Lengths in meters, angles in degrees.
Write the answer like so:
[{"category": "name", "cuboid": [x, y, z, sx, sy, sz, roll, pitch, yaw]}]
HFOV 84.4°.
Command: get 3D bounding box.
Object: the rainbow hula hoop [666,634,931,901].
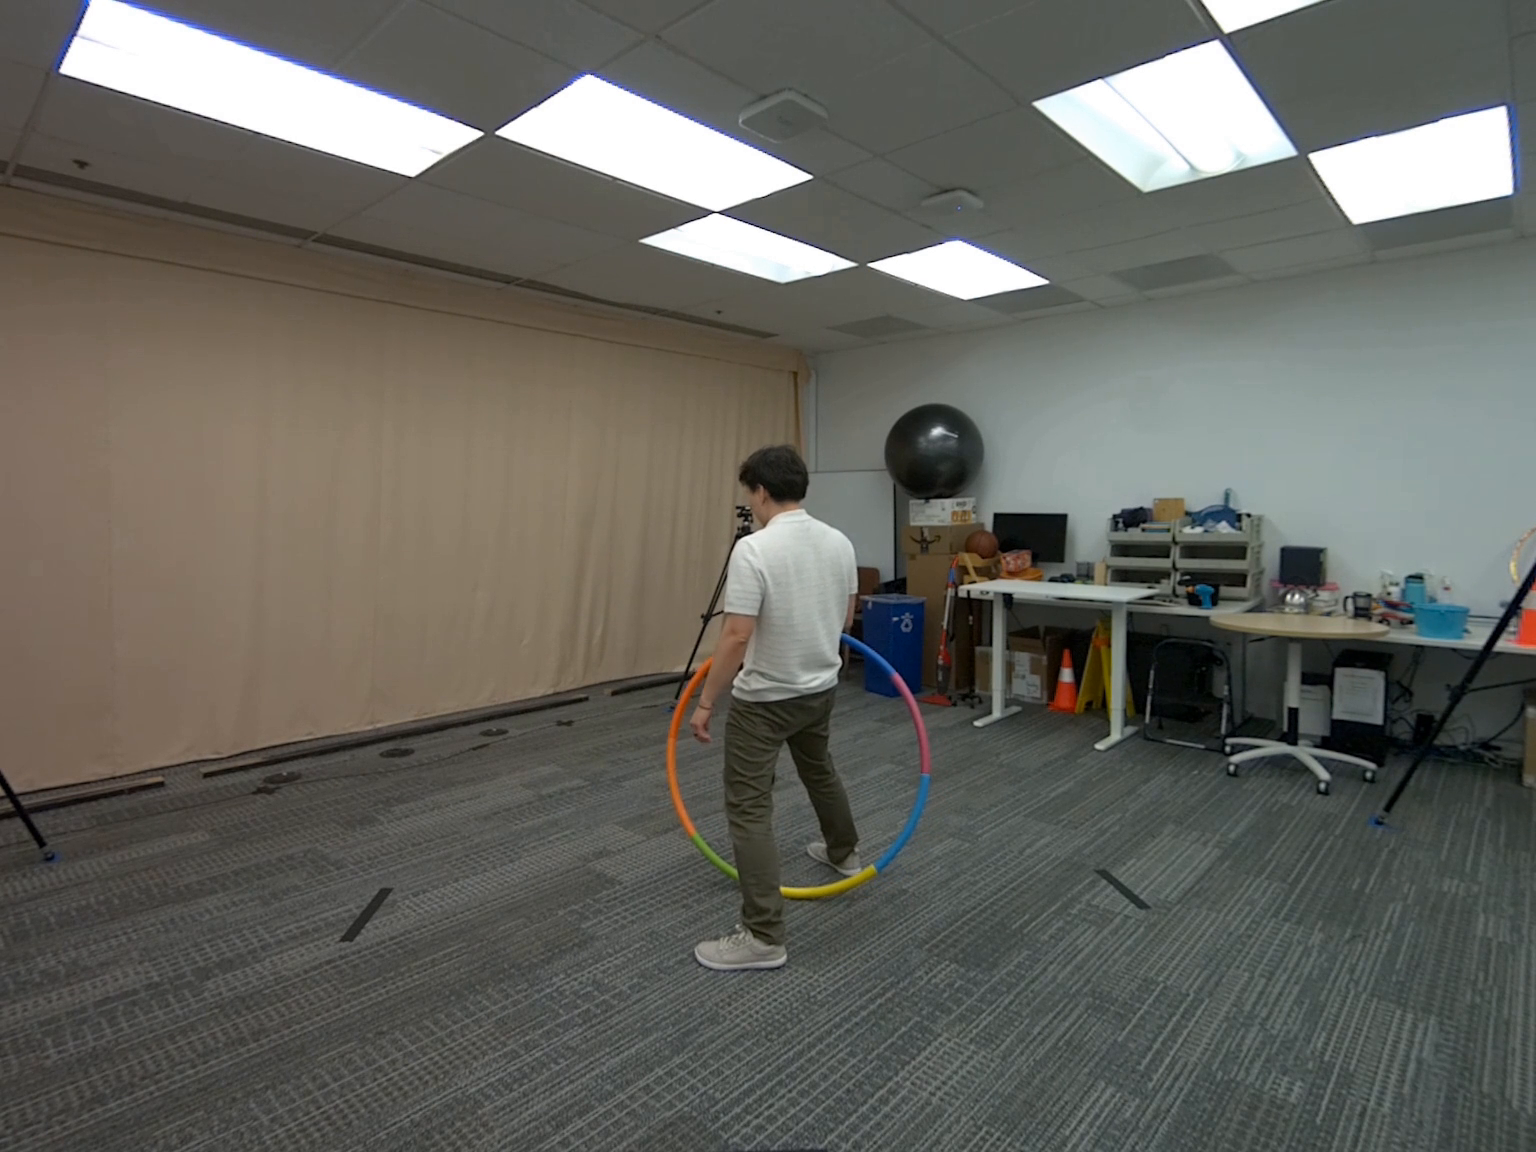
[{"category": "rainbow hula hoop", "cuboid": [0.095, 0.663, 3.114, 0.997, 0.986, 0.034, 1, -15, 18]}]
